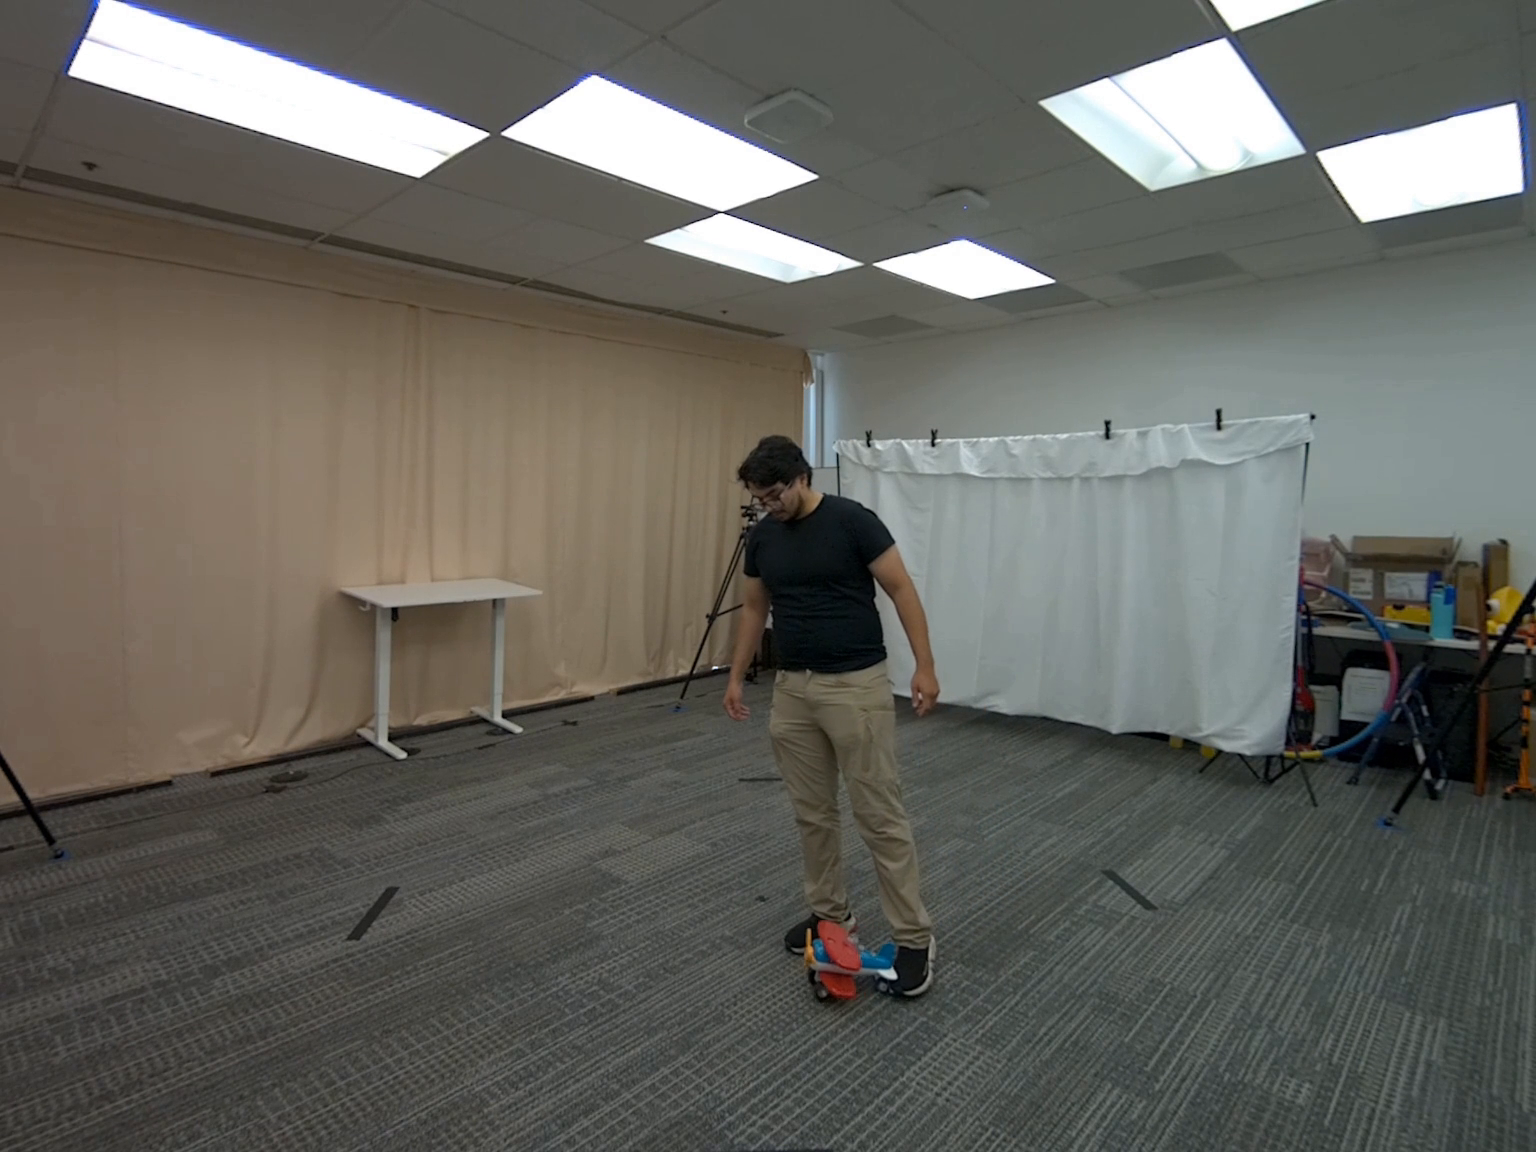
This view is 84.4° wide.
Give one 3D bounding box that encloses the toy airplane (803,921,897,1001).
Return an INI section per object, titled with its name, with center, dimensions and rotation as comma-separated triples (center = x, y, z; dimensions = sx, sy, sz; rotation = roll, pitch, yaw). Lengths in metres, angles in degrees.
[toy airplane]
center = 0.233, 1.114, 2.434
dimensions = 0.252, 0.156, 0.259
rotation = -5, 7, -35
